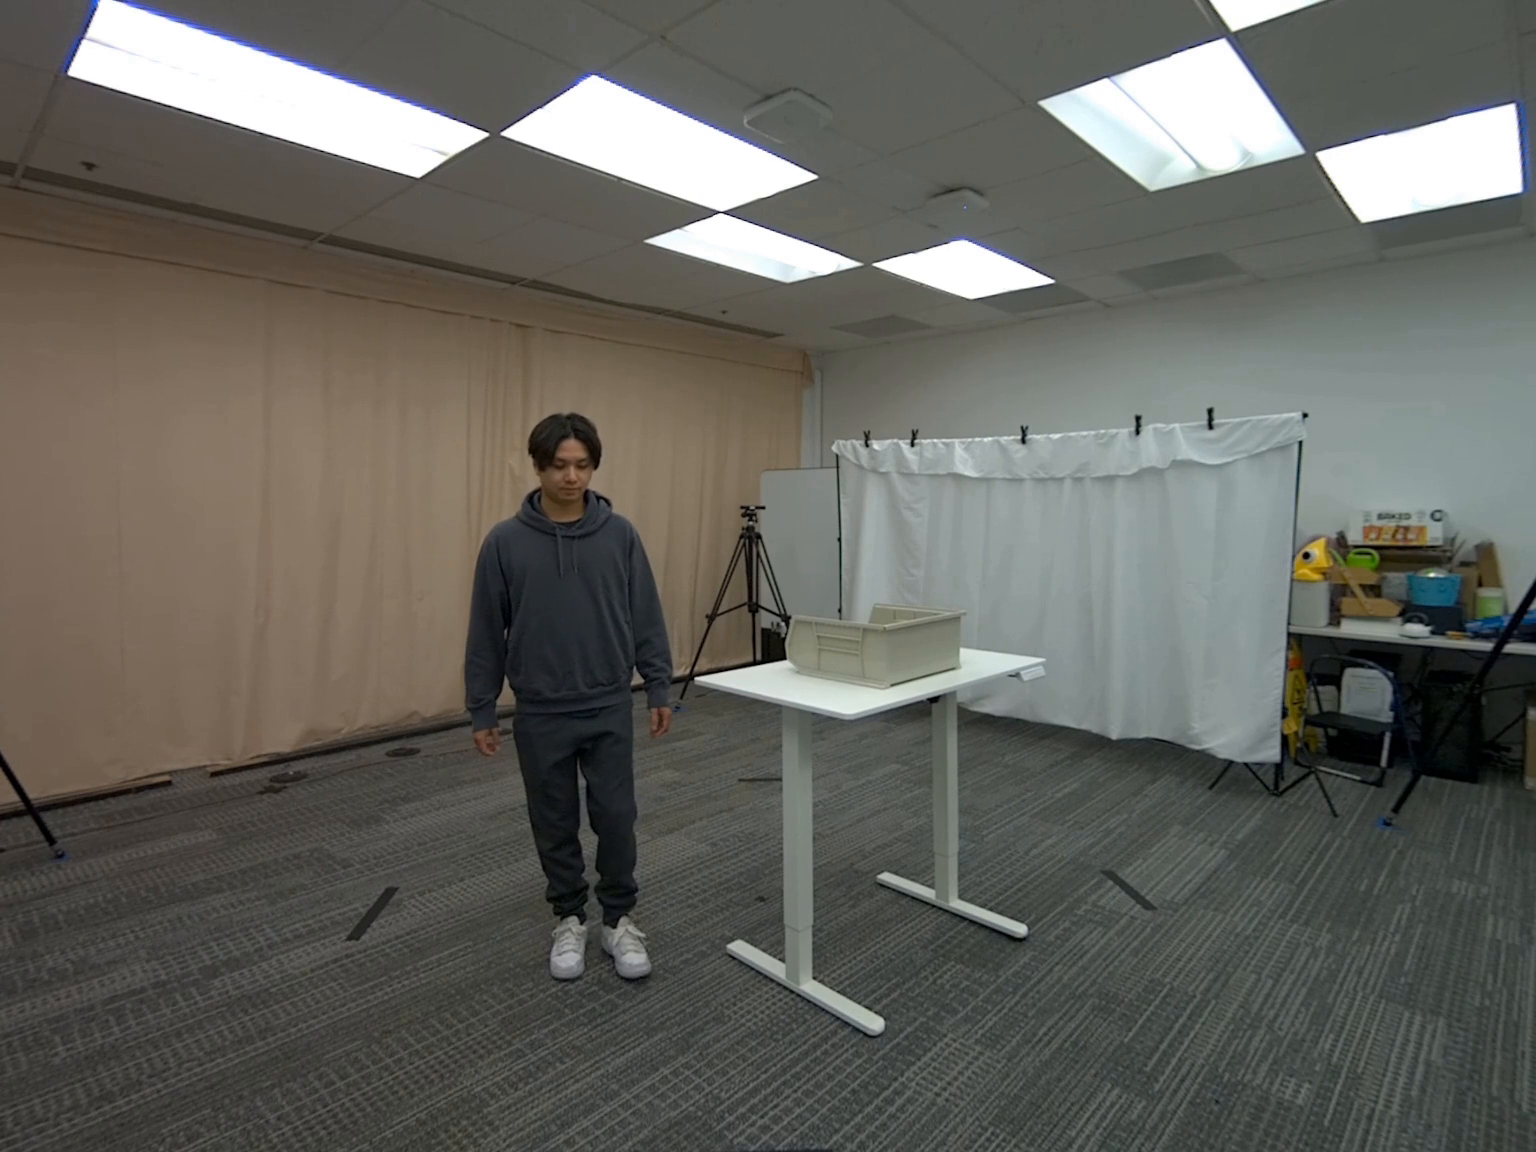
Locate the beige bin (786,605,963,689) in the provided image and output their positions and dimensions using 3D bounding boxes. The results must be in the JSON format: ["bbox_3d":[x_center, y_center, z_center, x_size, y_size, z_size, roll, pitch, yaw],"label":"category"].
[{"bbox_3d":[0.342,0.206,2.590,0.390,0.188,0.409,5,7,45],"label":"beige bin"}]
